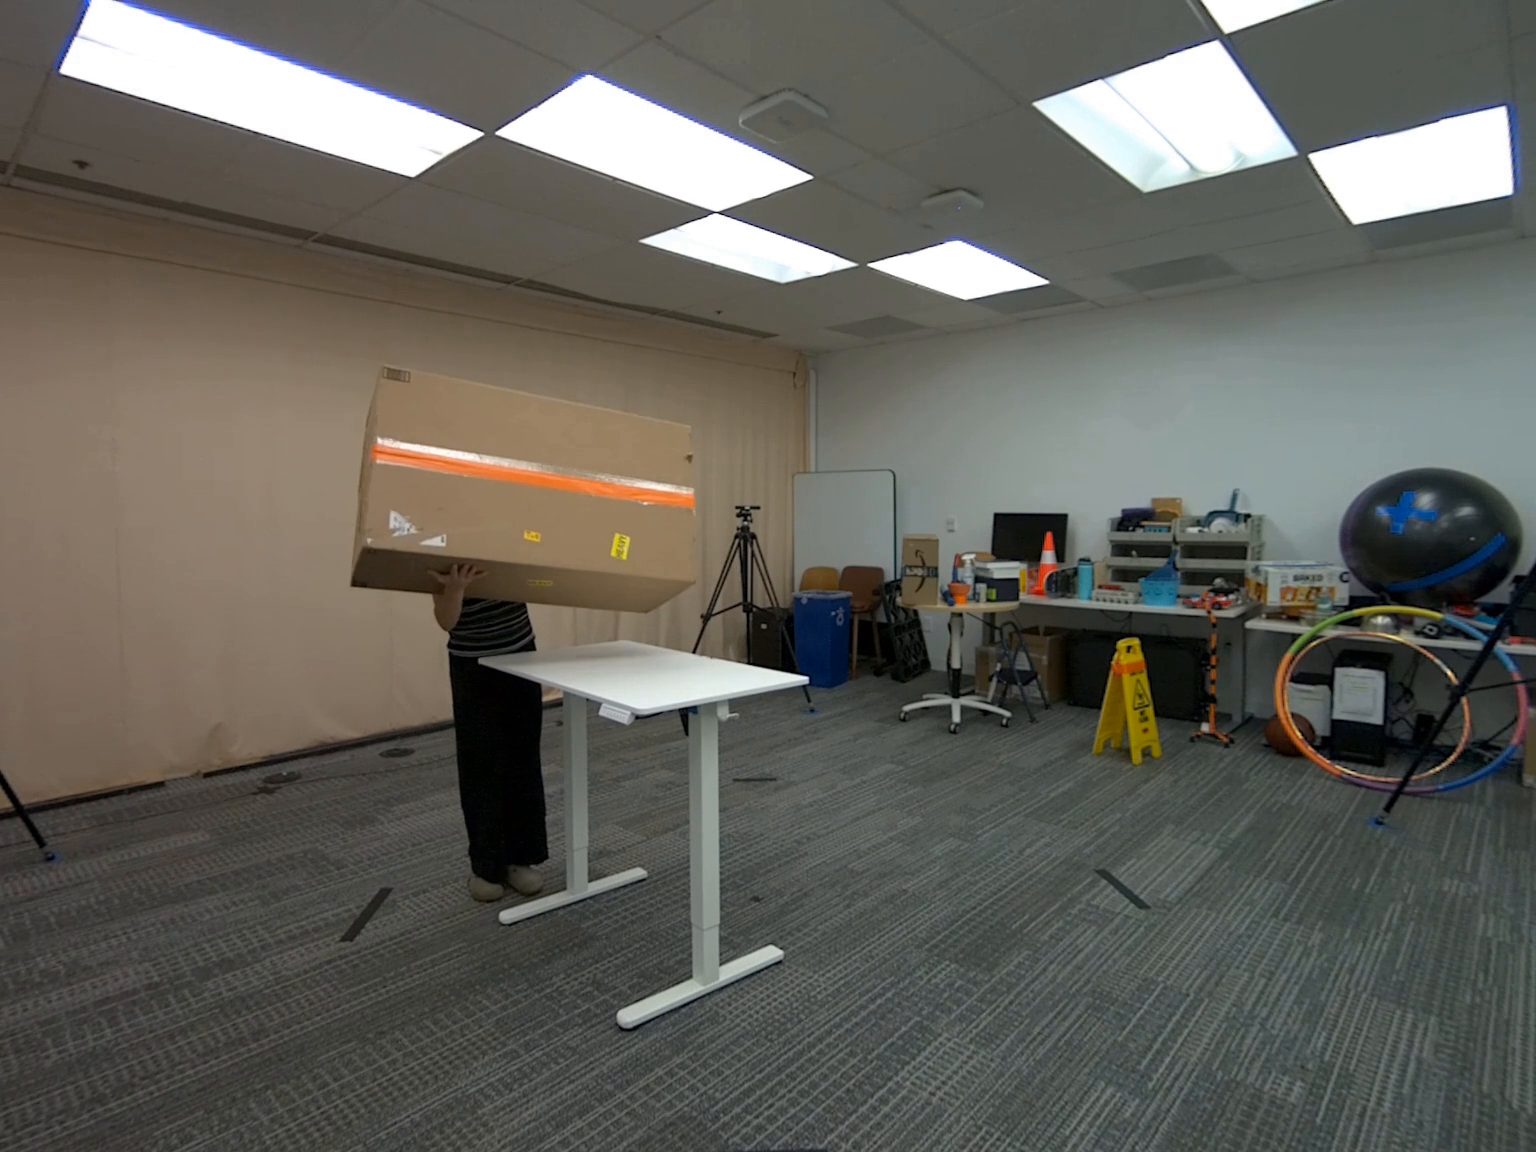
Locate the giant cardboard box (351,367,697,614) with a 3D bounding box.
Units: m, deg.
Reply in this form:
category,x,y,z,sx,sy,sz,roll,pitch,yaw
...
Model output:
category,x,y,z,sx,sy,sz,roll,pitch,yaw
giant cardboard box,-0.787,-0.242,2.790,0.998,0.584,0.433,7,-20,-27
